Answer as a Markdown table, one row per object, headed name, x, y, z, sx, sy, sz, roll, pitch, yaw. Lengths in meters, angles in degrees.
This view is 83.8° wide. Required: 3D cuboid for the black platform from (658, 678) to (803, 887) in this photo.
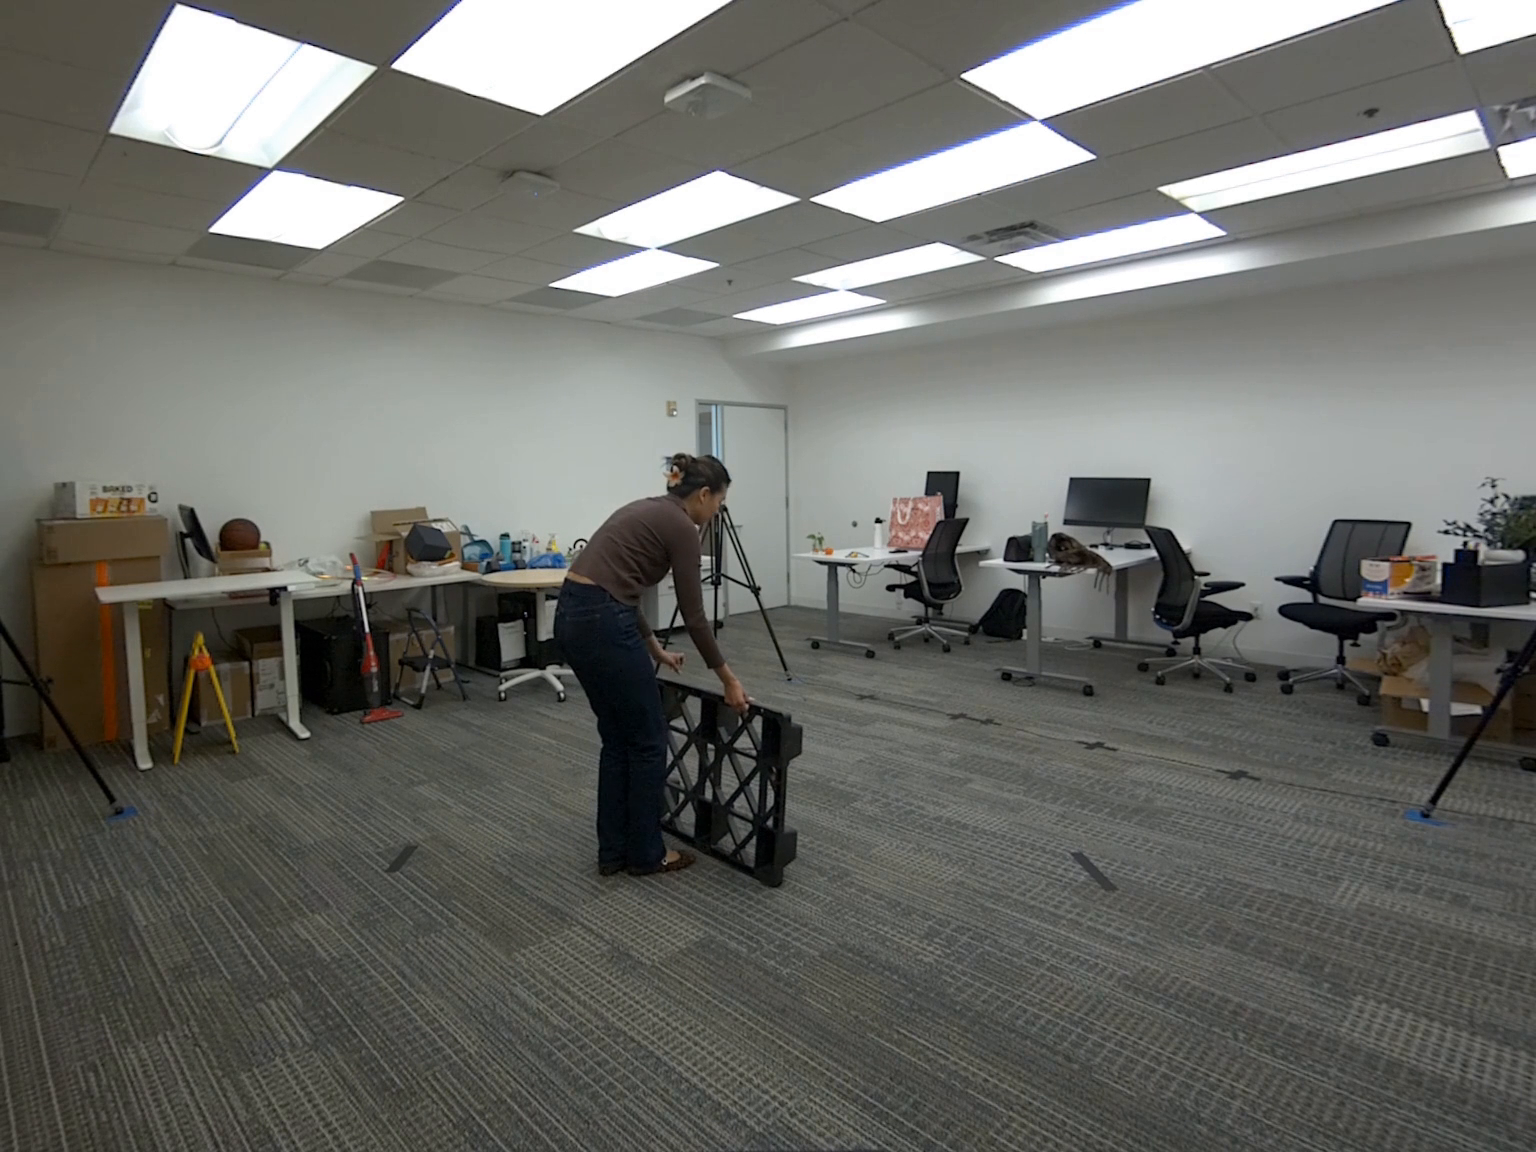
| name | x | y | z | sx | sy | sz | roll | pitch | yaw |
| --- | --- | --- | --- | --- | --- | --- | --- | --- | --- |
| black platform | -0.185 | 0.737 | 3.243 | 0.139 | 0.604 | 0.831 | 2 | 3 | -41 |
